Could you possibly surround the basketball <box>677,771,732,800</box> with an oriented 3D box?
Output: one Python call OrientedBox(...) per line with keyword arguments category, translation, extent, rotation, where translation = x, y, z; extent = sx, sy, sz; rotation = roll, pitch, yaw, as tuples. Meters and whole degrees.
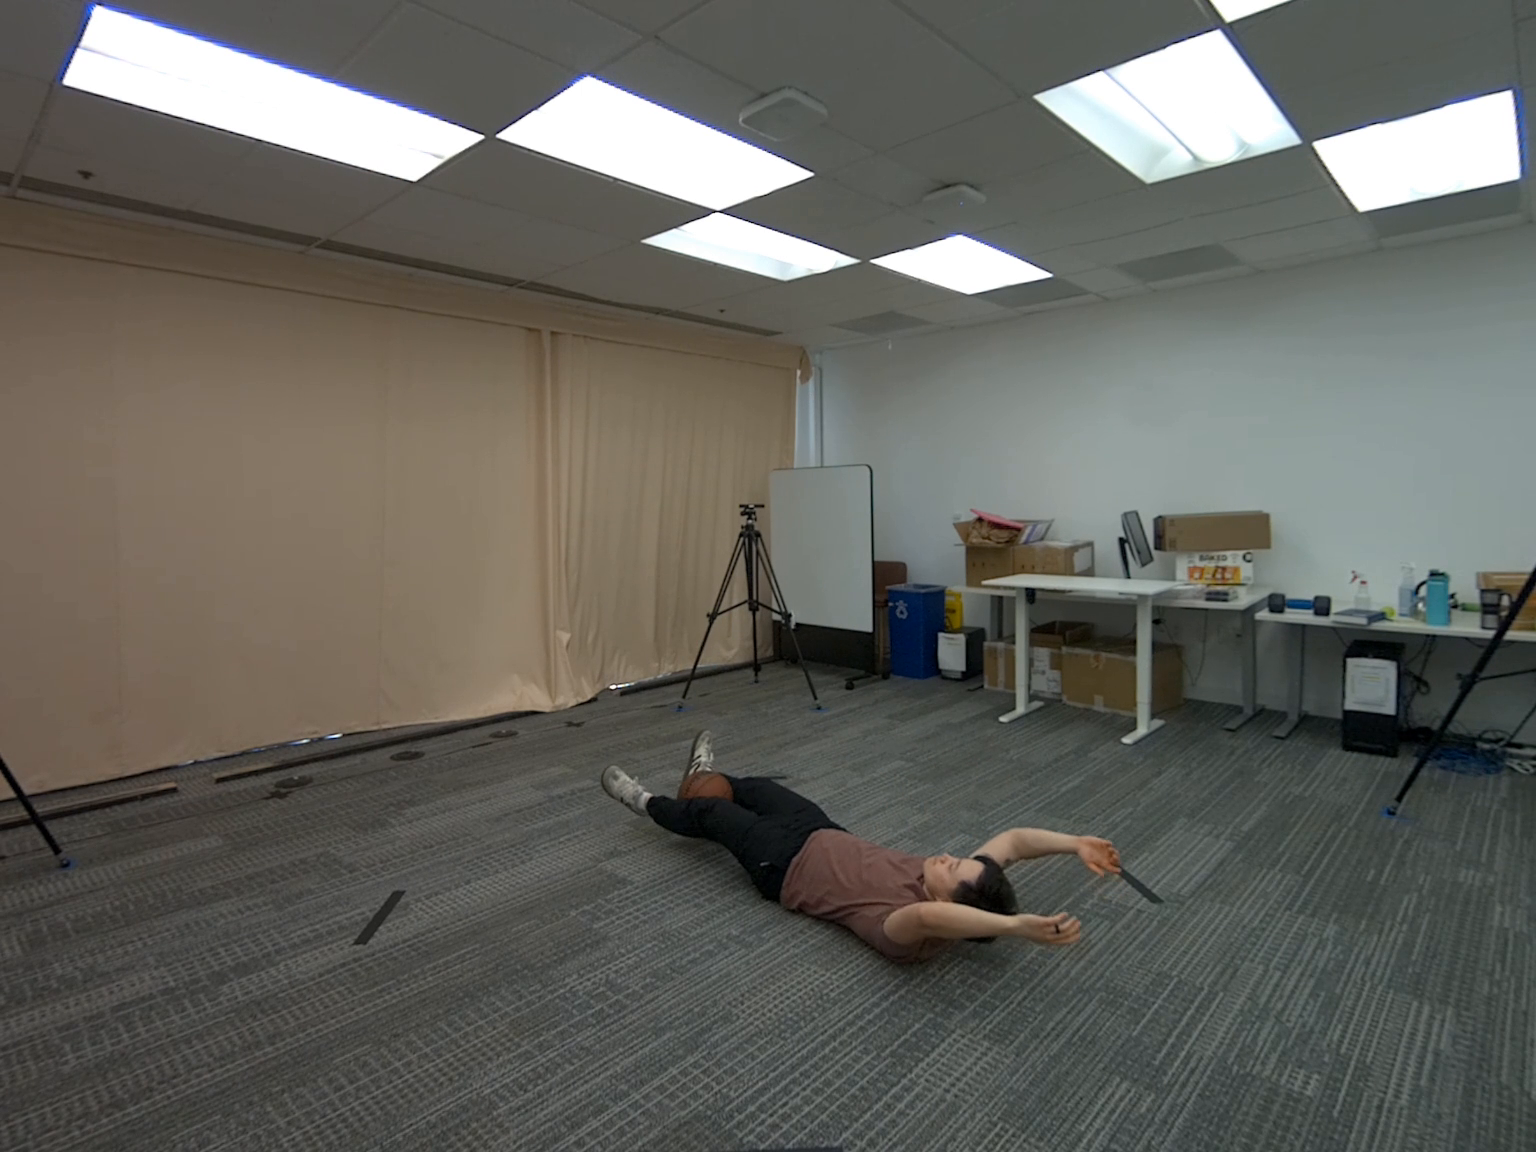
OrientedBox(category="basketball", translation=(-0.259, 0.912, 3.475), extent=(0.236, 0.235, 0.236), rotation=(-1, 3, -2))
